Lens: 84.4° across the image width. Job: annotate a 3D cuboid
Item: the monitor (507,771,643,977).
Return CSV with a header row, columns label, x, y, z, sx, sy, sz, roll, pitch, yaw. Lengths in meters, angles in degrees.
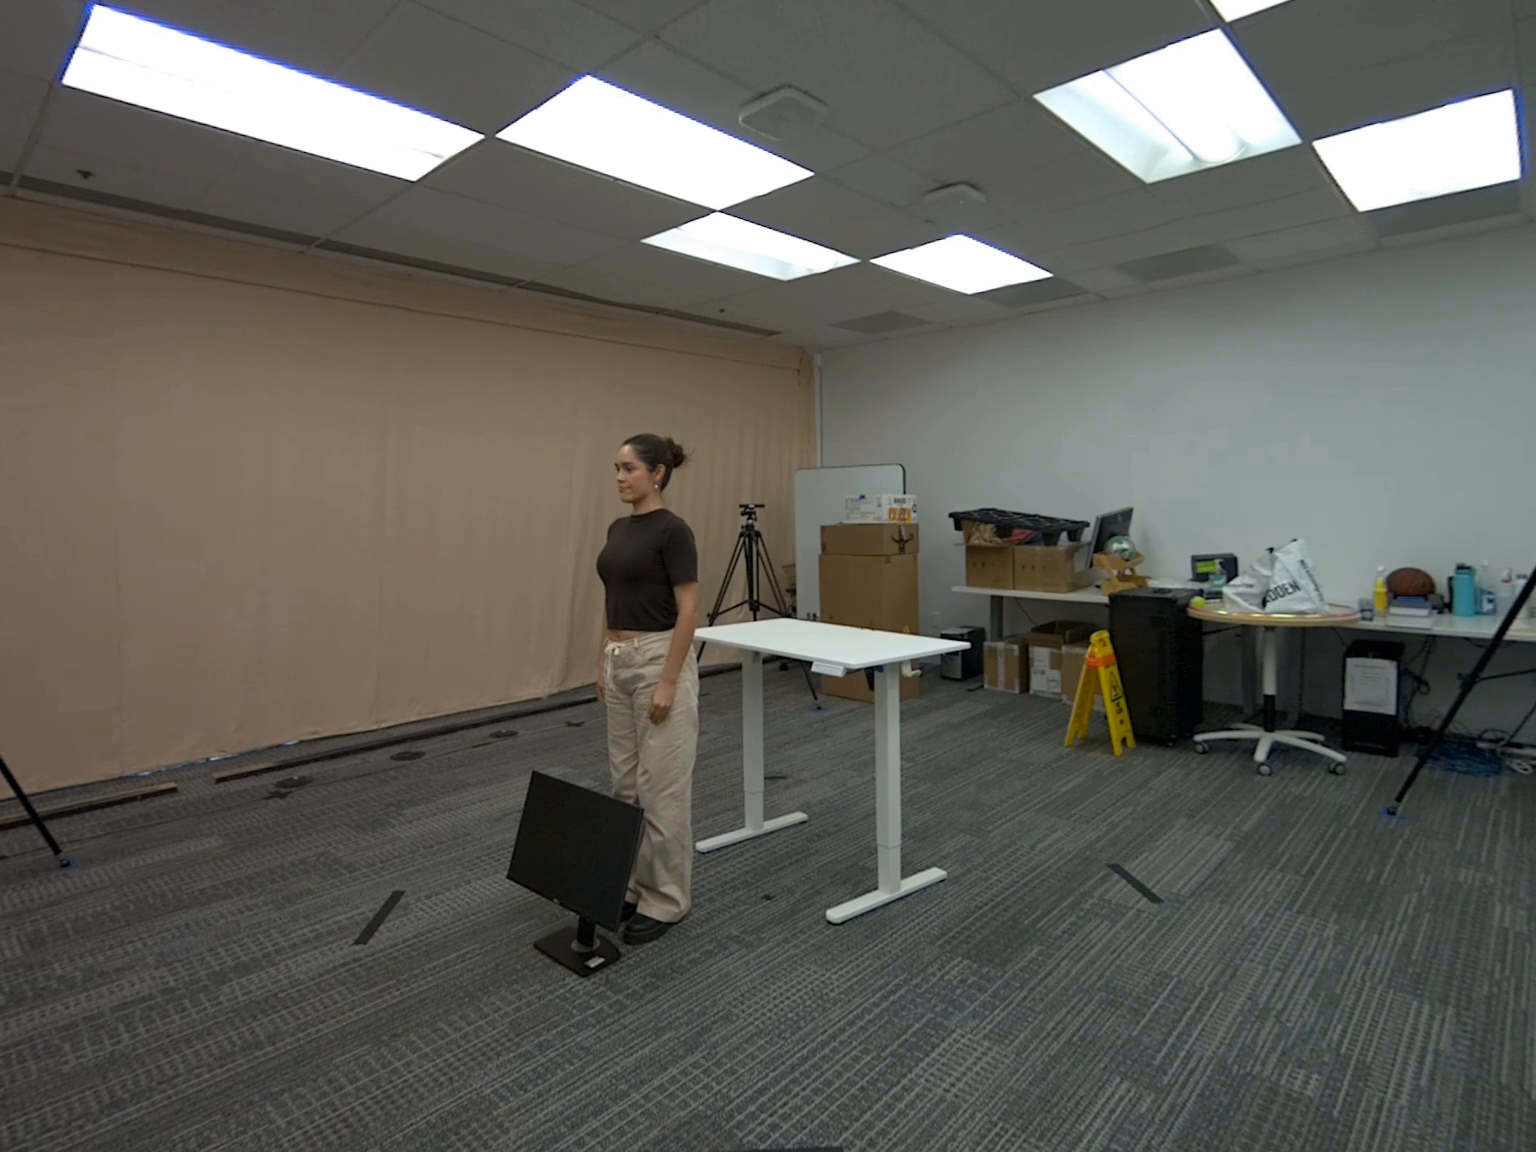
label,x,y,z,sx,sy,sz,roll,pitch,yaw
monitor,-0.590,0.929,2.639,0.557,0.522,0.181,3,2,38
